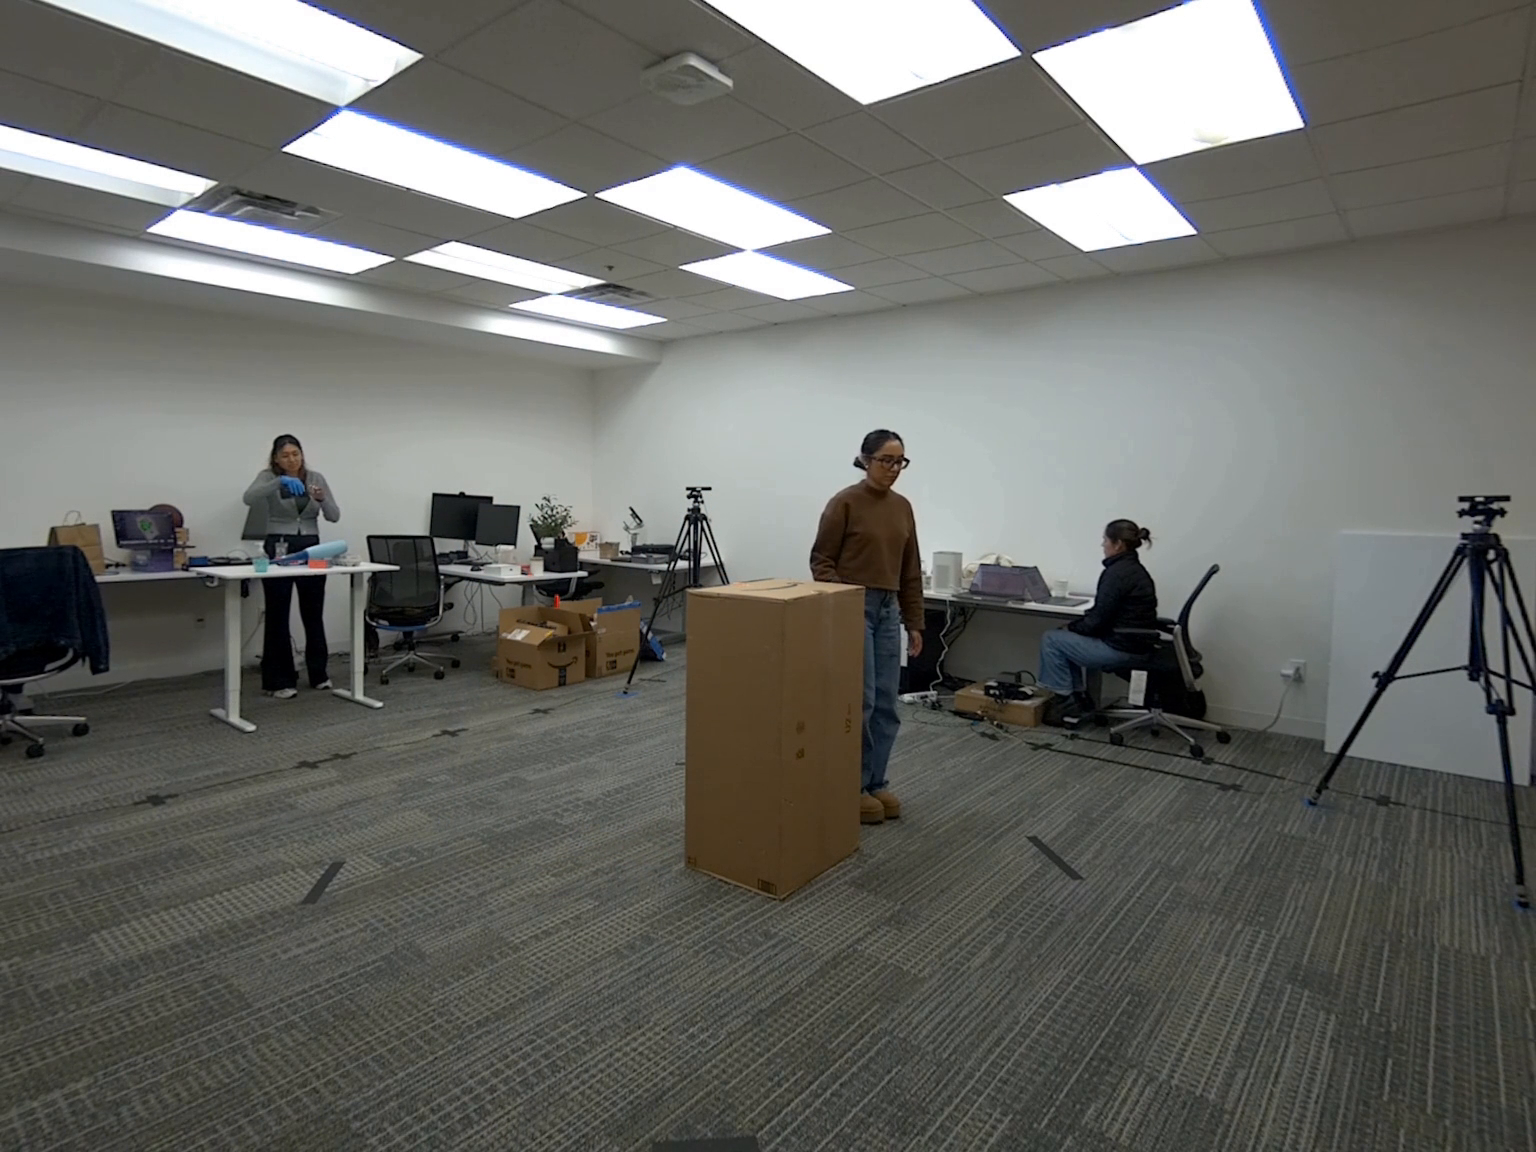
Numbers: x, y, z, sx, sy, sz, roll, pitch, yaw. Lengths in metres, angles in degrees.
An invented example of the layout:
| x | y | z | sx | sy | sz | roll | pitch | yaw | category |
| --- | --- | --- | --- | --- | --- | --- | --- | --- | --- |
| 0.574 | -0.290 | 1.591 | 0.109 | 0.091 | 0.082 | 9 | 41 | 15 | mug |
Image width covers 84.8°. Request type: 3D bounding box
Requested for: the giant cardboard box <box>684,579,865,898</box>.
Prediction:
| x | y | z | sx | sy | sz | roll | pitch | yaw | category |
| --- | --- | --- | --- | --- | --- | --- | --- | --- | --- |
| 0.017 | 0.552 | 3.189 | 0.440 | 1.023 | 0.561 | 3 | 4 | 36 | giant cardboard box |
